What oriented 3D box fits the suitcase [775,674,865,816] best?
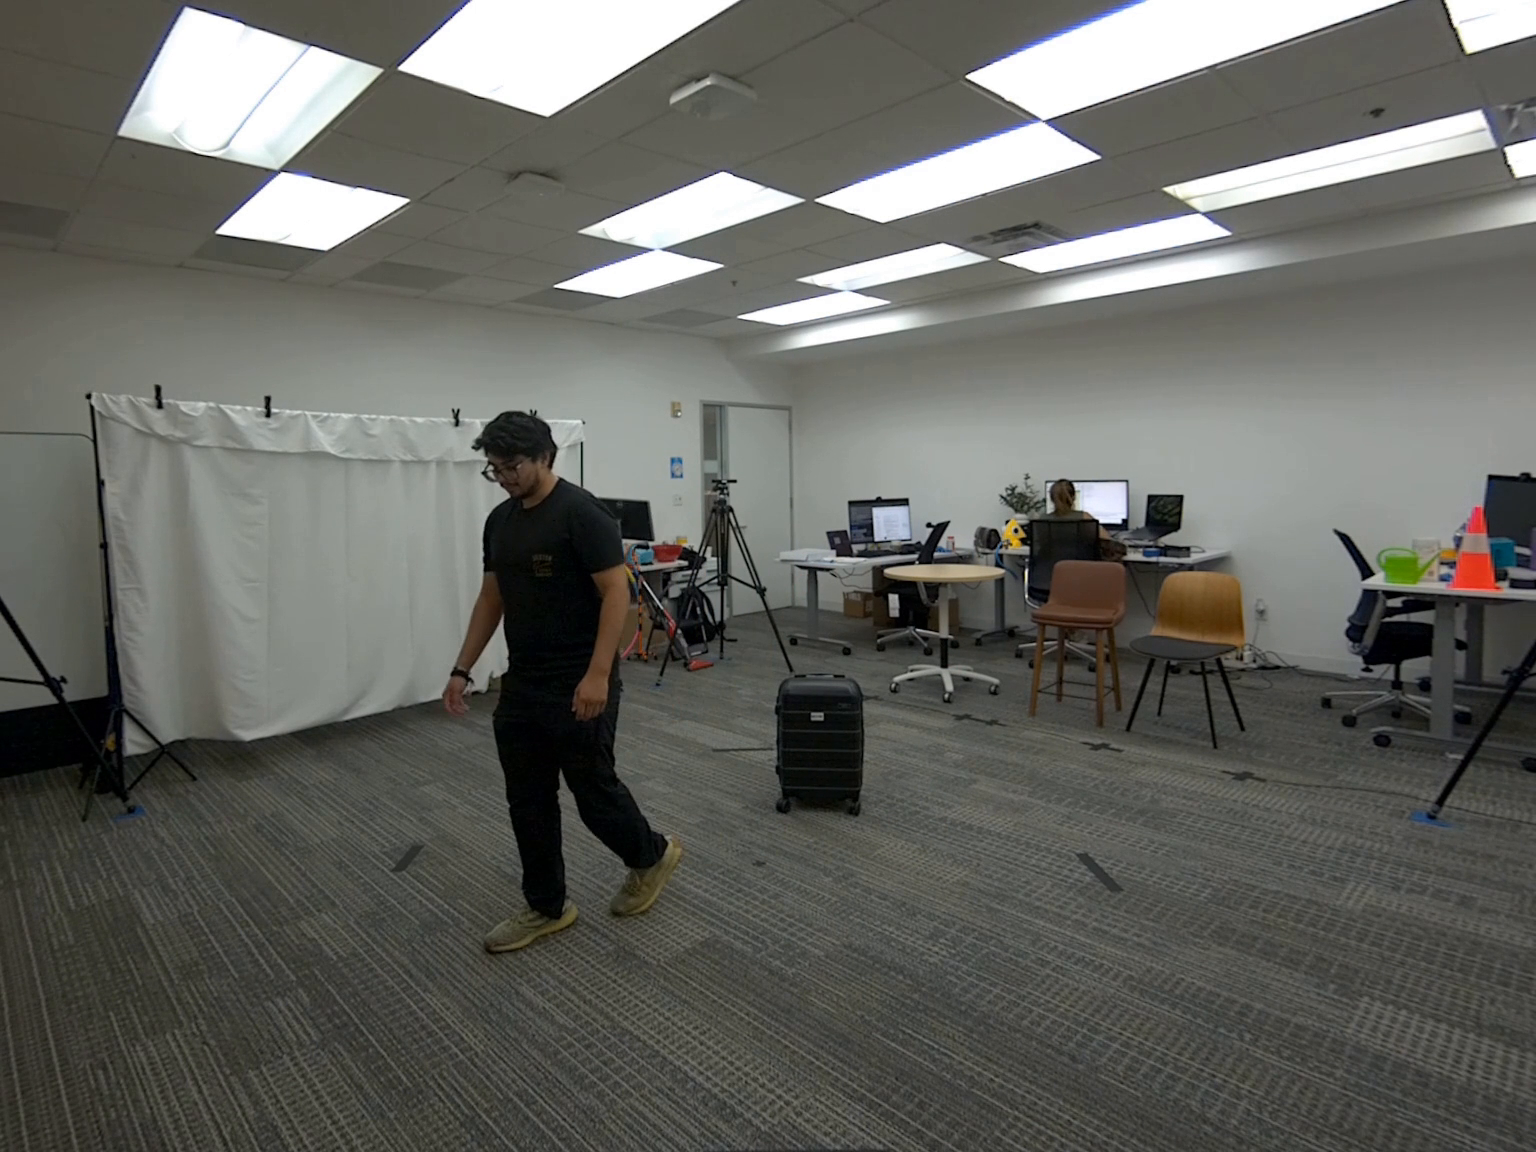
[{"bbox_3d":[0.230,0.701,3.679,0.377,0.547,0.248,0,4,5],"label":"suitcase"}]
